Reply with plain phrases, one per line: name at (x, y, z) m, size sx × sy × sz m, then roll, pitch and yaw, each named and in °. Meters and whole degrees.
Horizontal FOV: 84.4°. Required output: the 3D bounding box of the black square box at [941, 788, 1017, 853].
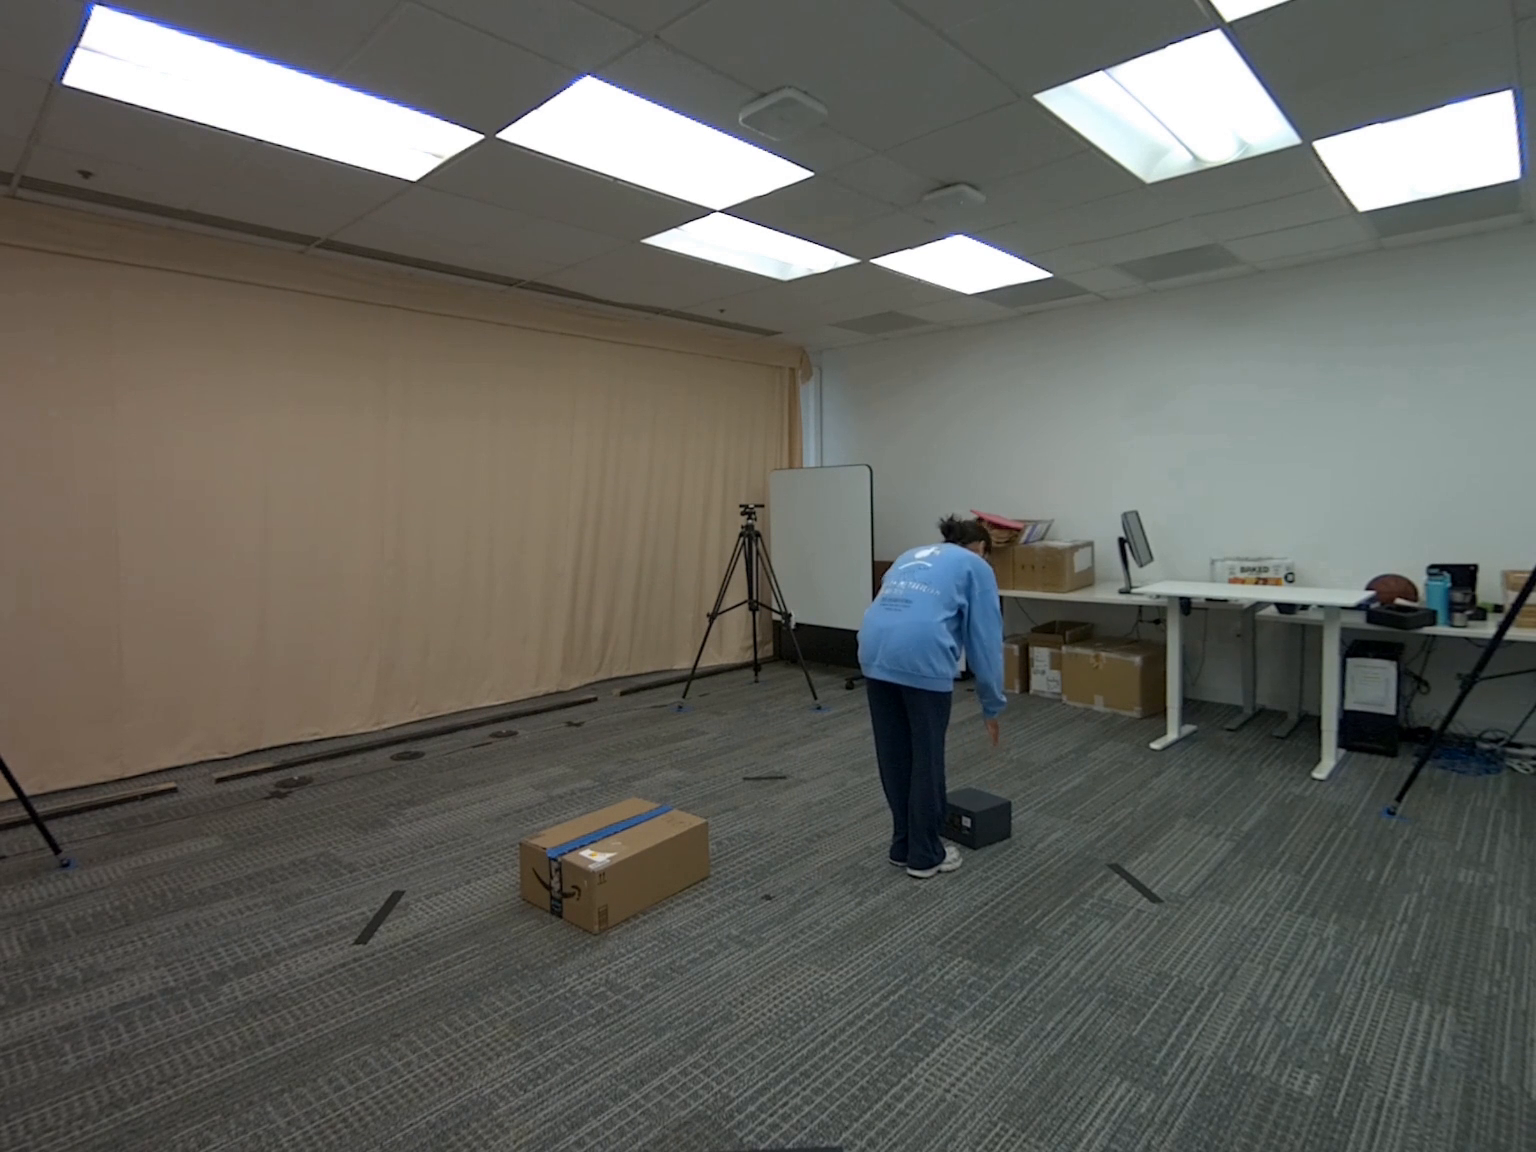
black square box at (0.858, 1.000, 3.493) m, size 0.221 × 0.155 × 0.224 m, roll -4°, pitch 4°, yaw -36°
